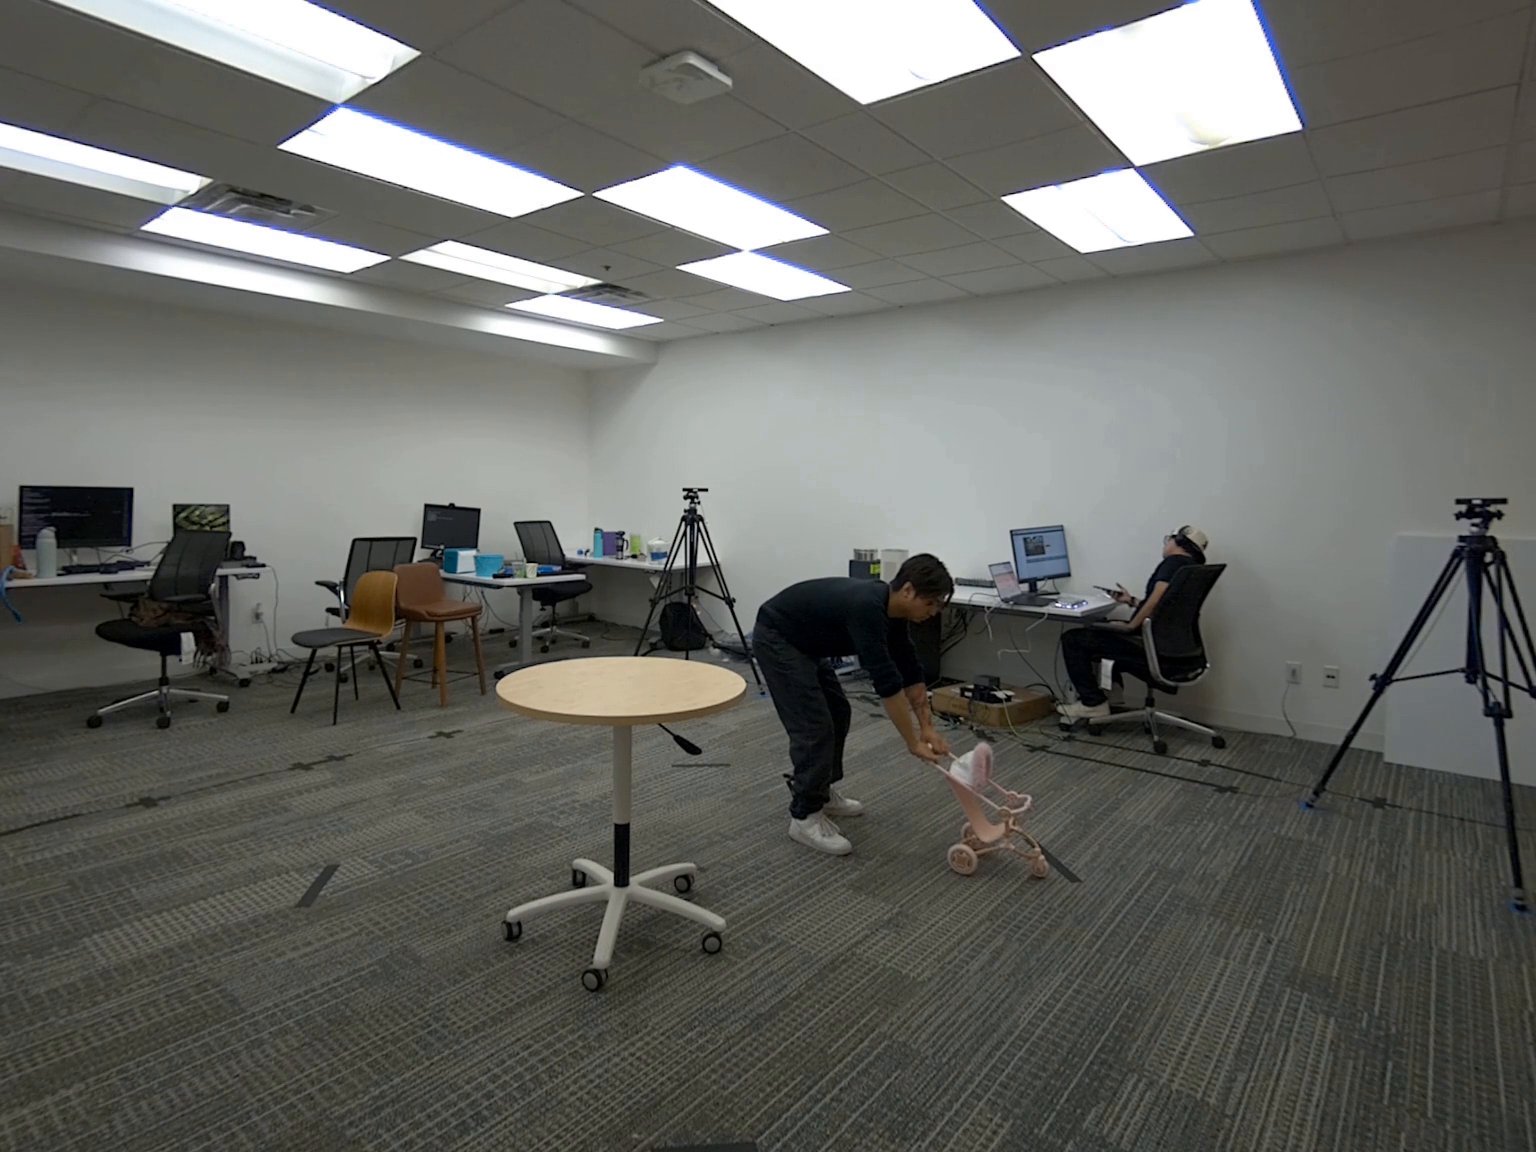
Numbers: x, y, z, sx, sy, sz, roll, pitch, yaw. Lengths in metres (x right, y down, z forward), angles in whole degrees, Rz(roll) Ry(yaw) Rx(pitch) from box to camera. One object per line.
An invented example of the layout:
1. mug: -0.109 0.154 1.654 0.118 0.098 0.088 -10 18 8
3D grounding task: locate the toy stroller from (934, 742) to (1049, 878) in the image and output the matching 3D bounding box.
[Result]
1. toy stroller: 0.816 0.859 3.197 0.348 0.539 0.274 -18 -7 30
